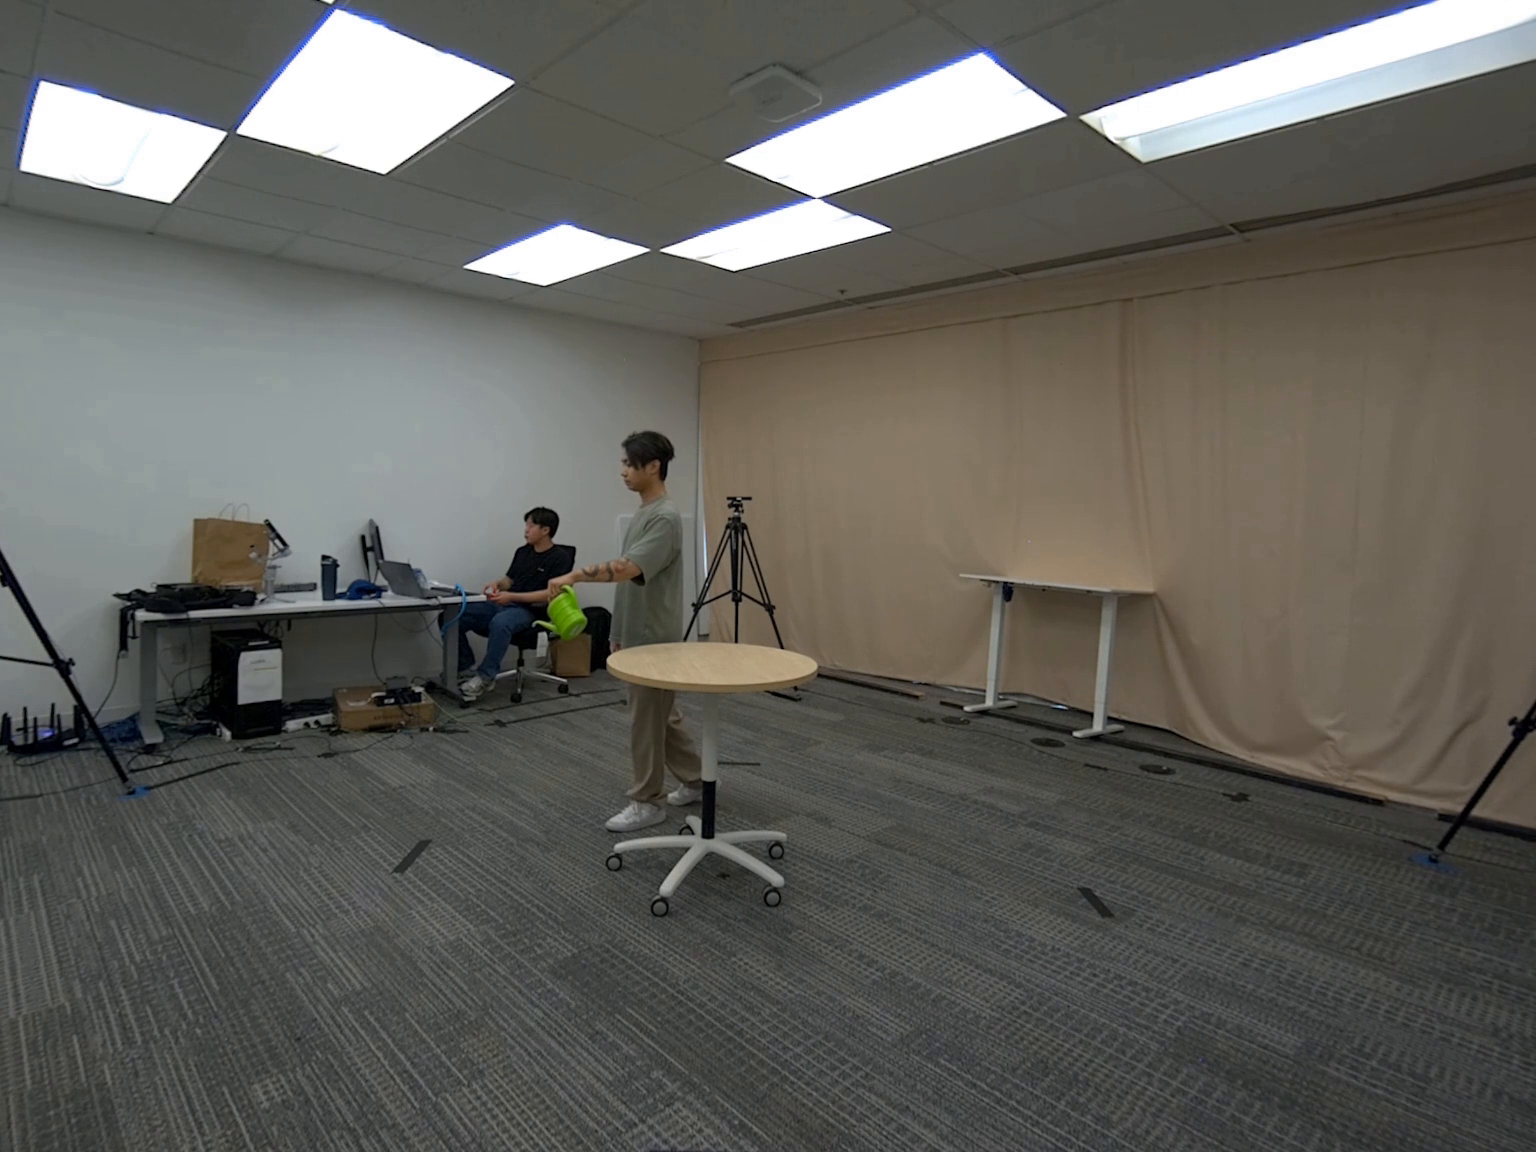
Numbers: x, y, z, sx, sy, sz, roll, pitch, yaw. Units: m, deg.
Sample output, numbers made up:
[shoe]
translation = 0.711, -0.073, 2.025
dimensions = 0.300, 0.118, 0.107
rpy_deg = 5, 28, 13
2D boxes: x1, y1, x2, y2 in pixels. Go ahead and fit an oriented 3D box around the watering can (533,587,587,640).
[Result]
[watering can]
translation = -0.794, 0.170, 3.218
dimensions = 0.096, 0.181, 0.276
rpy_deg = -15, -30, -41
